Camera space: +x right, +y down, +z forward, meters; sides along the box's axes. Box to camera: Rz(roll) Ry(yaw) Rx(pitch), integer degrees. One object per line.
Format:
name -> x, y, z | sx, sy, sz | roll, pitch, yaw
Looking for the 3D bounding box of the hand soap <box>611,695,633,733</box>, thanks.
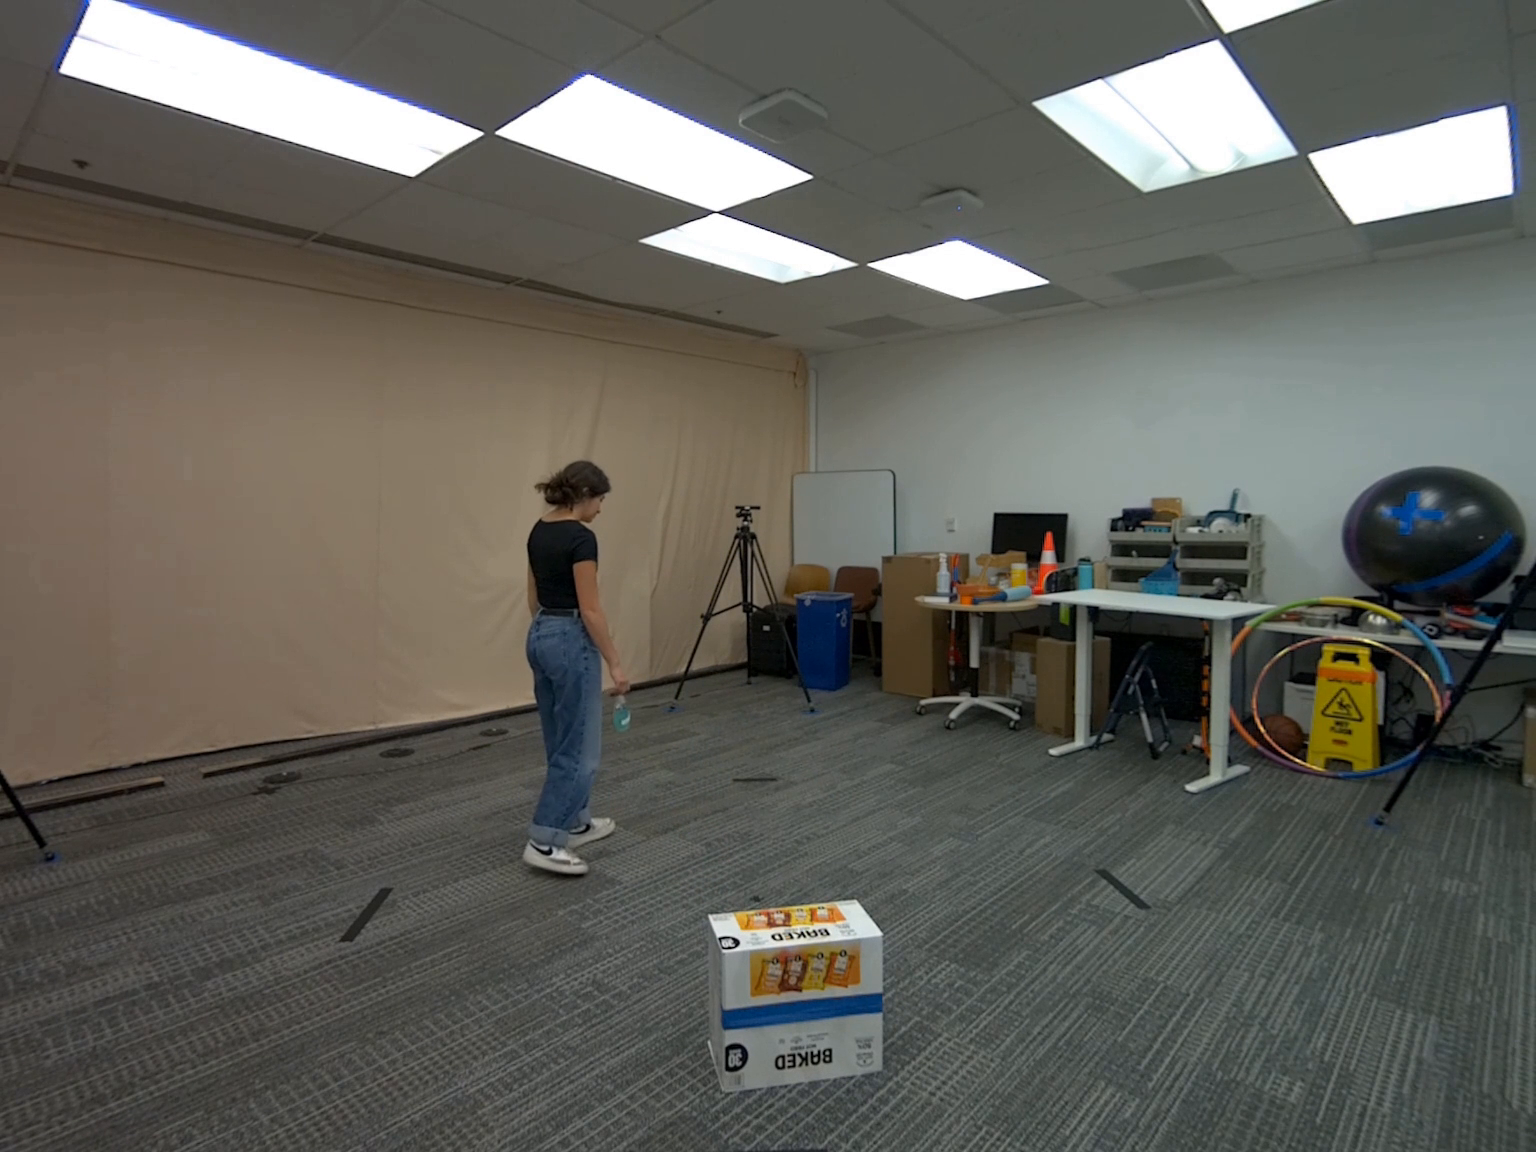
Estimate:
hand soap -> -0.587, 0.518, 3.290 | 0.043, 0.168, 0.085 | 7, 3, -10
